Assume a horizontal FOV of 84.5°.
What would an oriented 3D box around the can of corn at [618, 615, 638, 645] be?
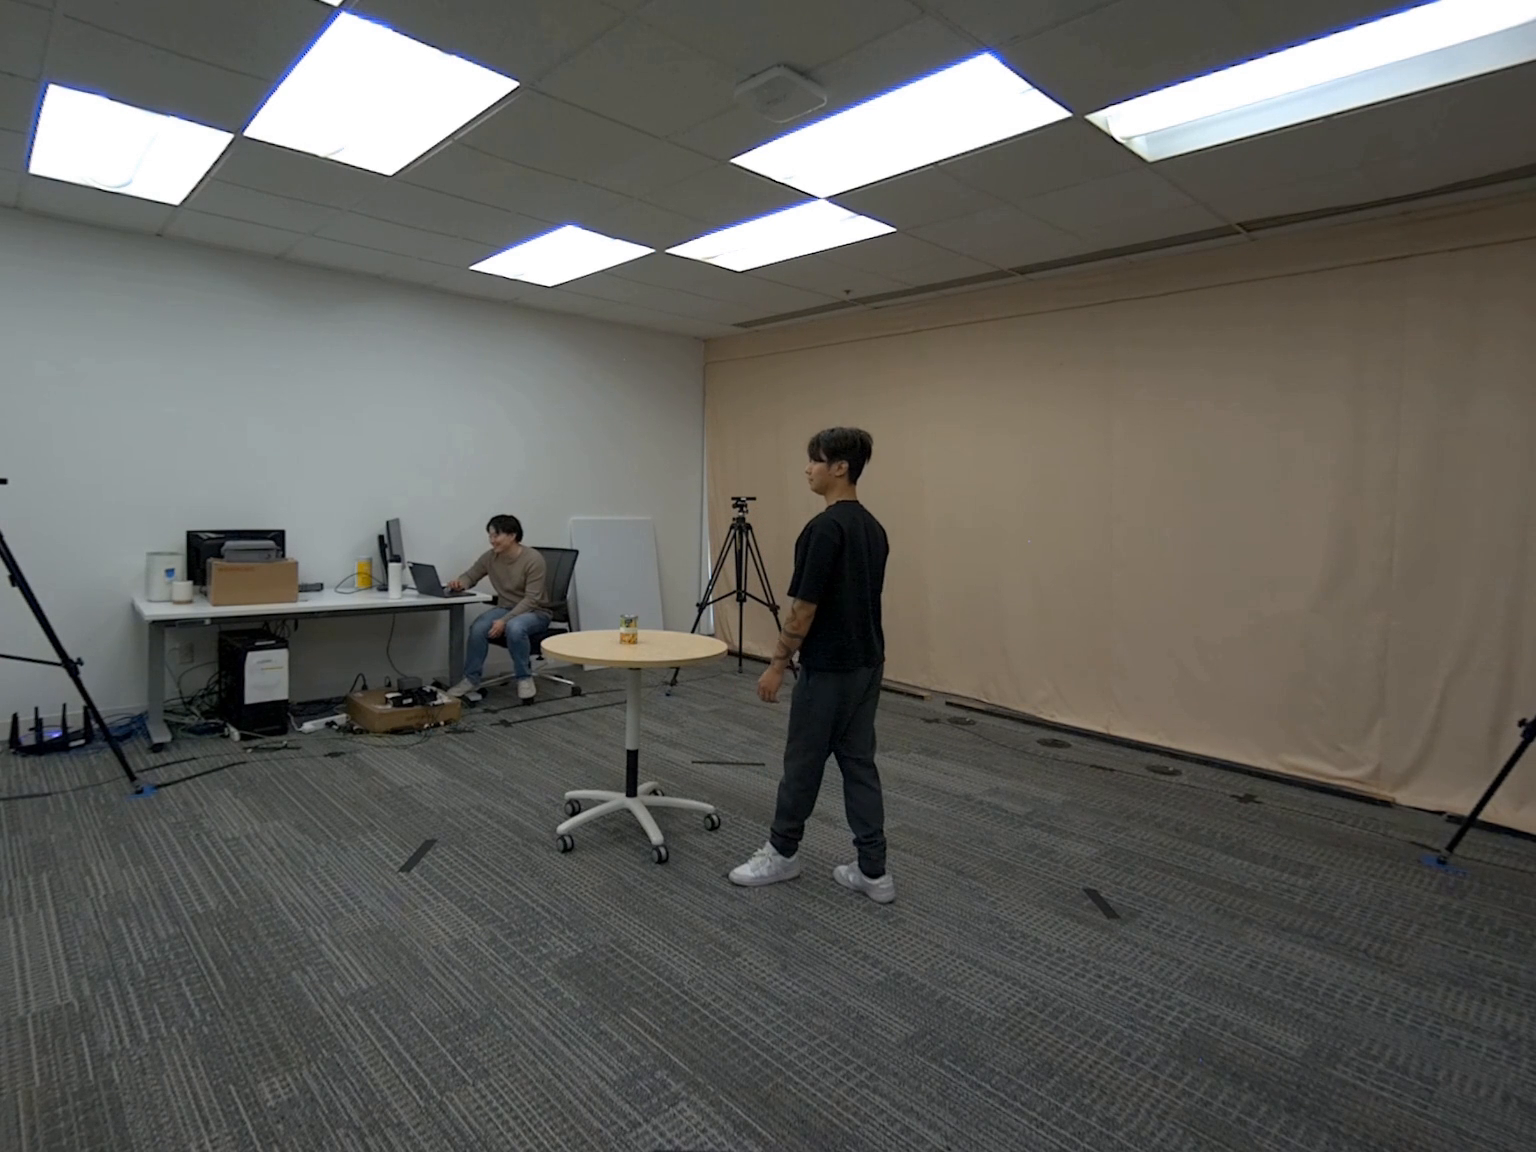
[{"bbox_3d":[-0.585,0.222,3.493,0.074,0.111,0.074,2,-1,-1],"label":"can of corn"}]
